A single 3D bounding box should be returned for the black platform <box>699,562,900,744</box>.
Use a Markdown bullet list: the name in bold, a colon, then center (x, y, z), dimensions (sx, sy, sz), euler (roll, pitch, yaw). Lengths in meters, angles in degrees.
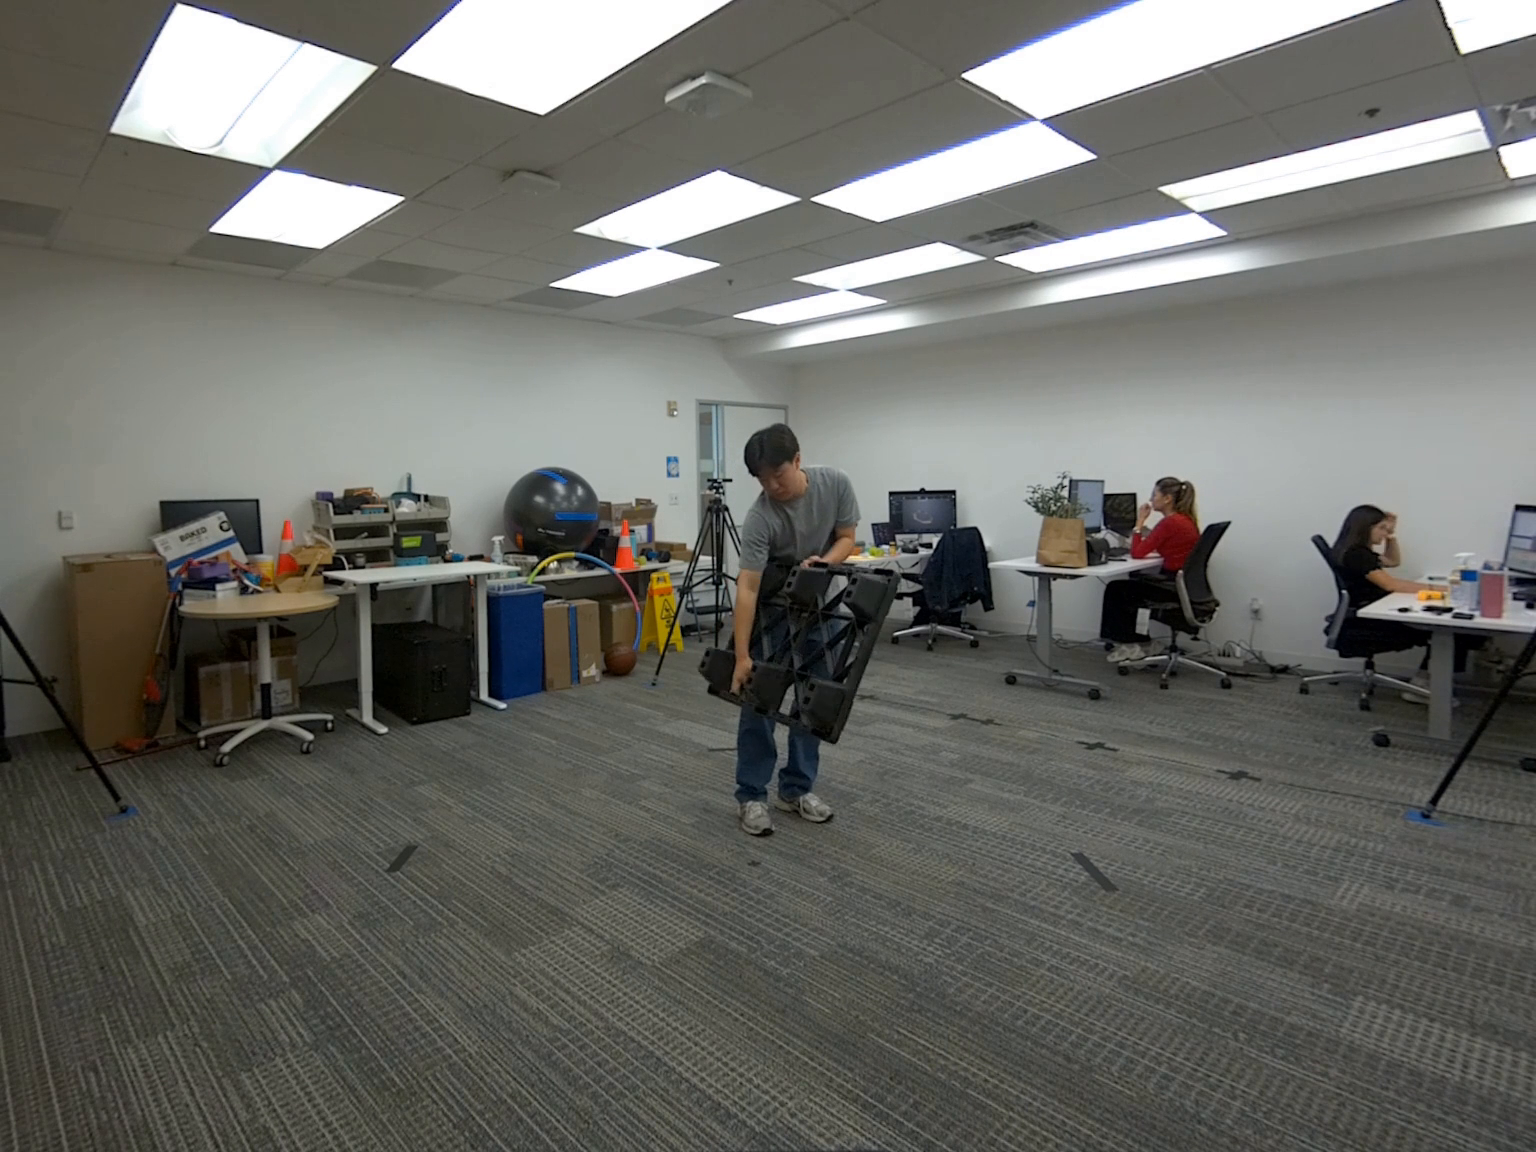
- **black platform**: center (0.066, 0.201, 3.061), dimensions (0.139, 0.608, 0.828), euler (29, -11, -30)
